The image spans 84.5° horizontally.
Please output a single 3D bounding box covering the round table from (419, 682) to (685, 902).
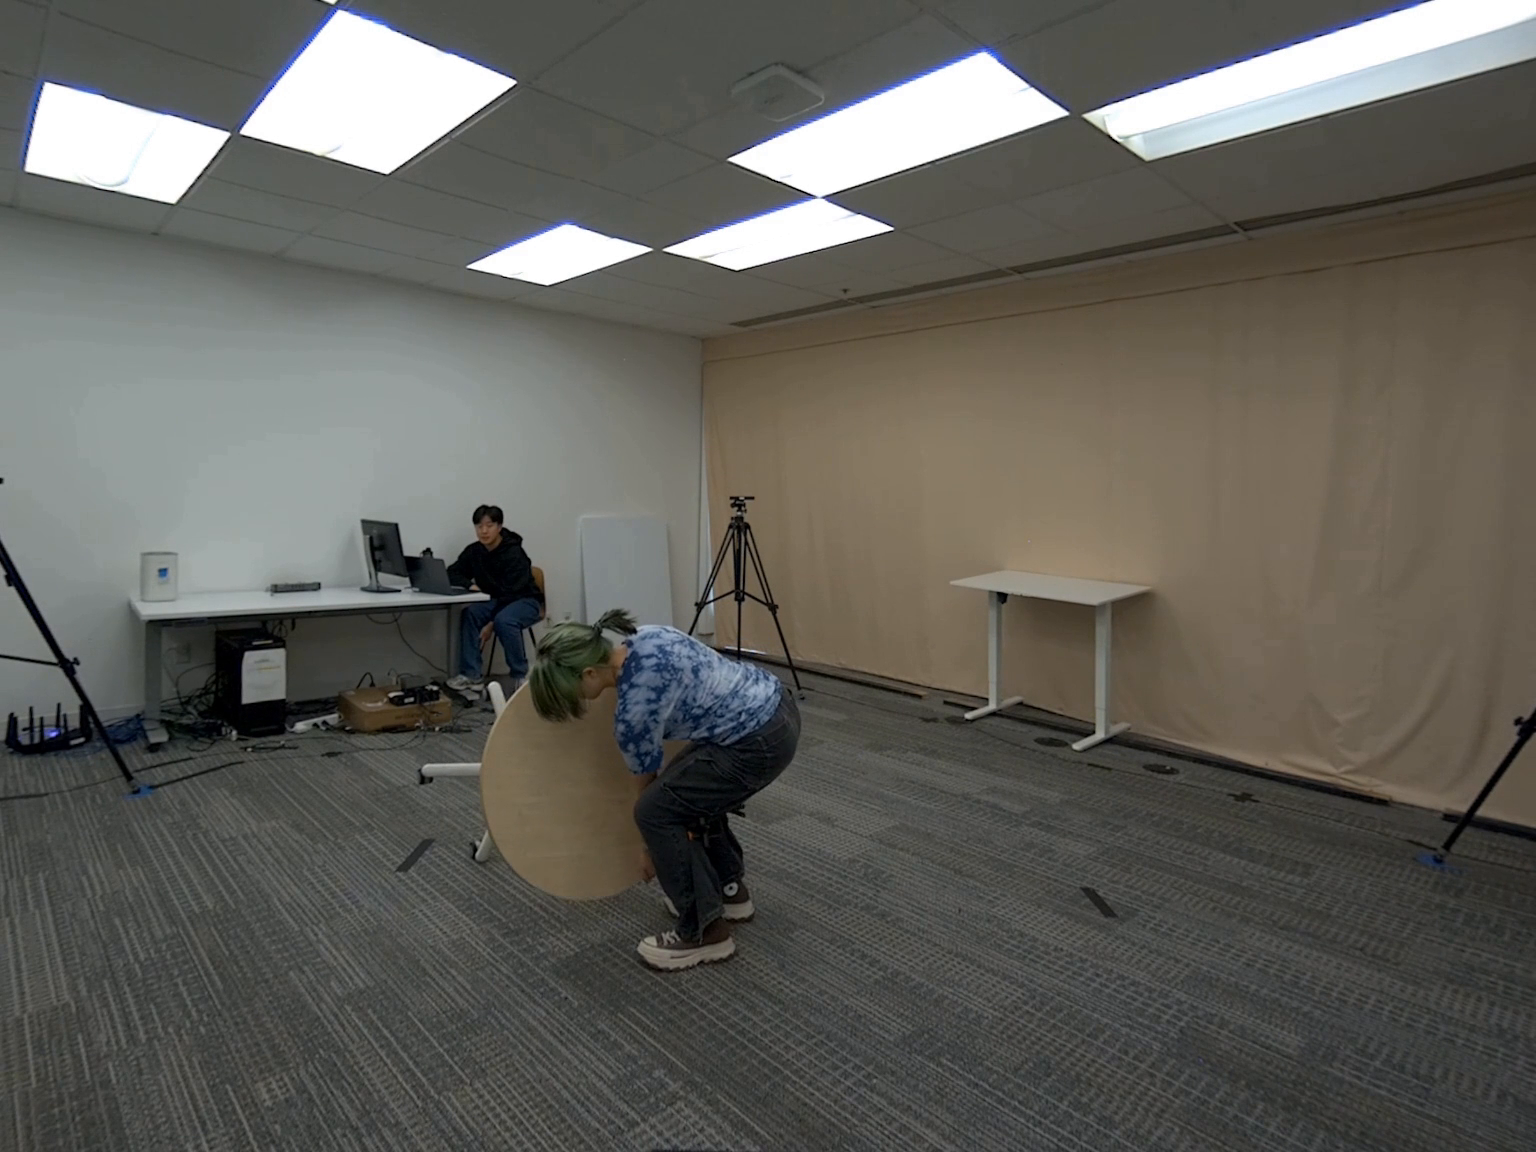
[{"bbox_3d":[-0.805,0.708,3.053,0.747,0.769,0.806,-2,-9,-39],"label":"round table"}]
